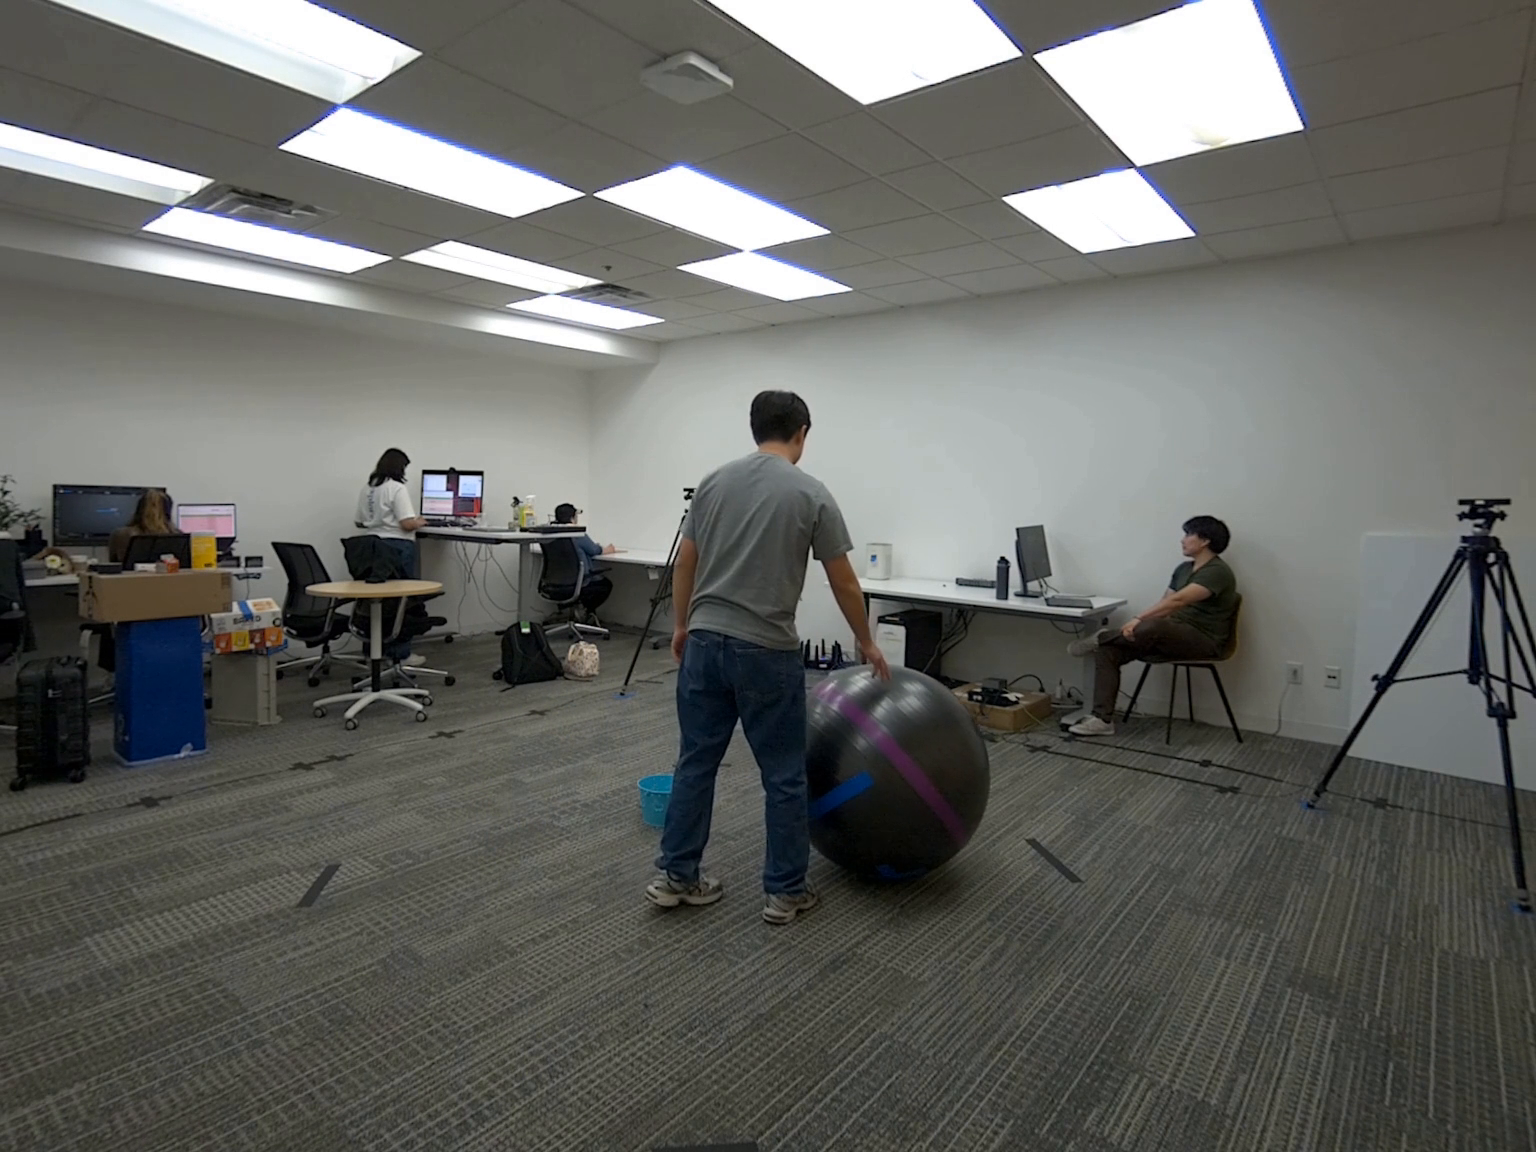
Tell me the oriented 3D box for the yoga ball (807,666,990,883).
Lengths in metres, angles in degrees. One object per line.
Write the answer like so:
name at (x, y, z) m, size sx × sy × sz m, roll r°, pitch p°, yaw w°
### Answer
yoga ball at (0.427, 0.706, 3.140) m, size 0.757 × 0.755 × 0.762 m, roll 1°, pitch 4°, yaw -2°
